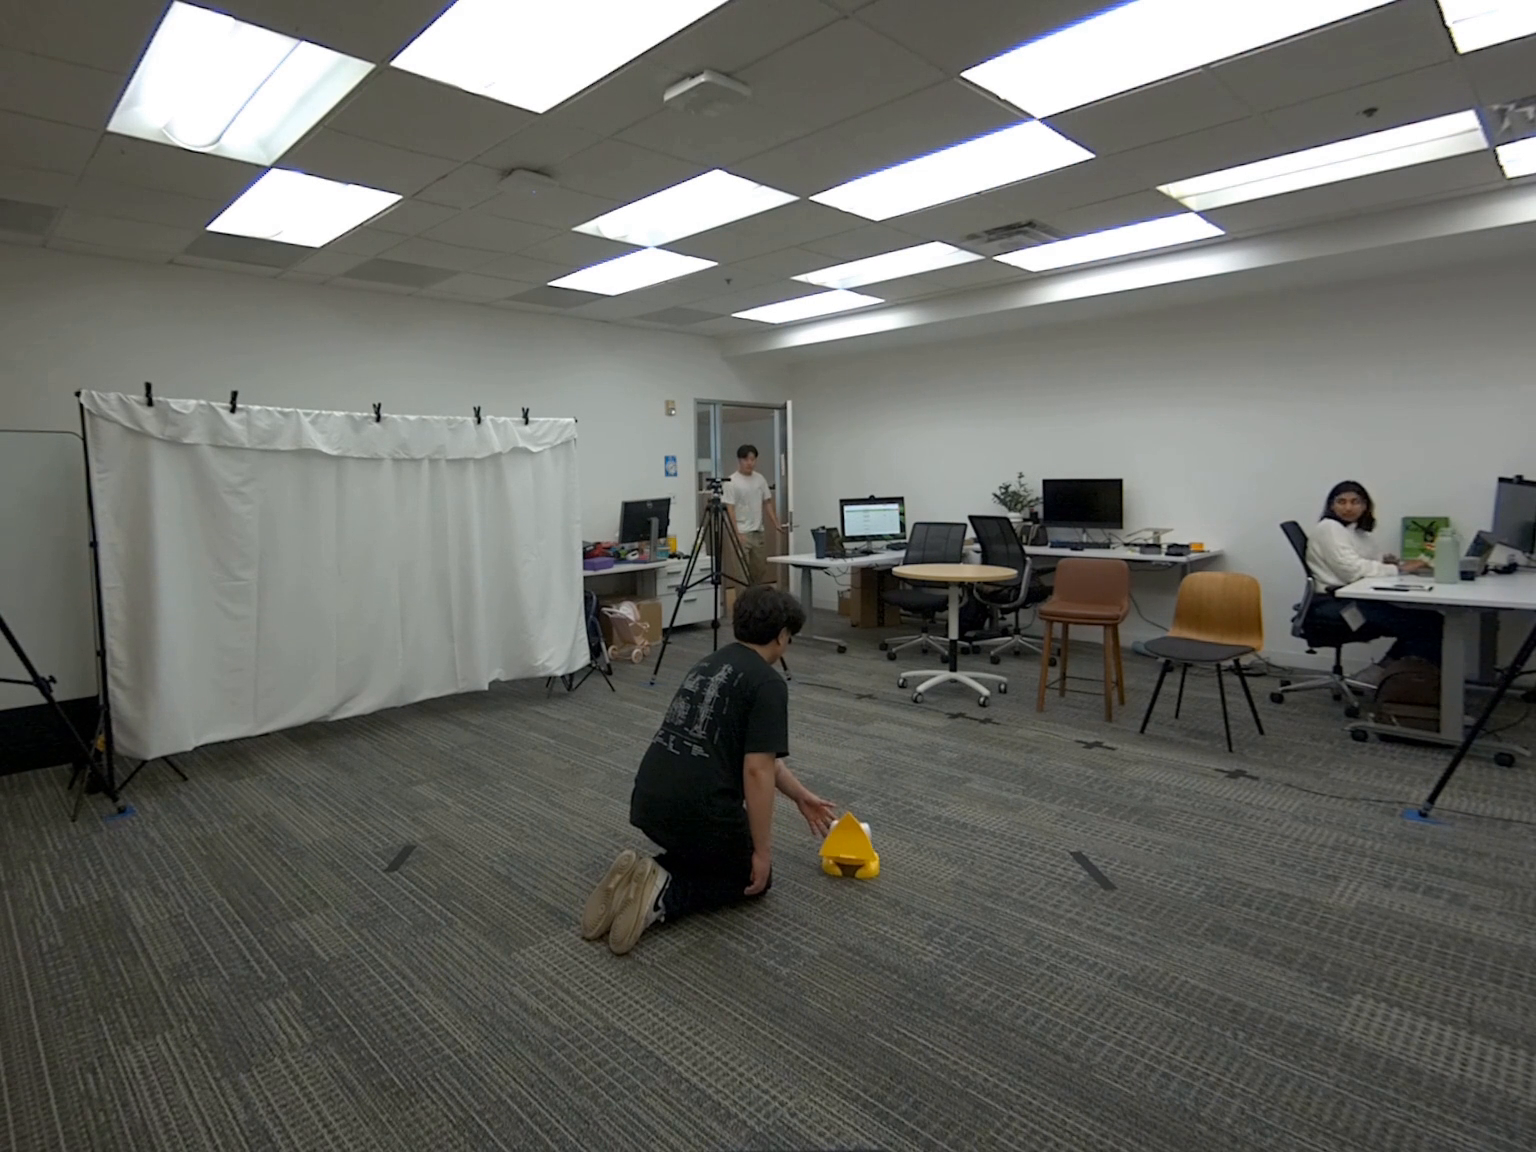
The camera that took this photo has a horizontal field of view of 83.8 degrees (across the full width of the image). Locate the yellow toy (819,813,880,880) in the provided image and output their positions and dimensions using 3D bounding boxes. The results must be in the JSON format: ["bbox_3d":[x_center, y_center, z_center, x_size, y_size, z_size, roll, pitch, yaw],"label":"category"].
[{"bbox_3d":[0.298,0.932,3.044,0.208,0.229,0.191,1,6,14],"label":"yellow toy"}]
